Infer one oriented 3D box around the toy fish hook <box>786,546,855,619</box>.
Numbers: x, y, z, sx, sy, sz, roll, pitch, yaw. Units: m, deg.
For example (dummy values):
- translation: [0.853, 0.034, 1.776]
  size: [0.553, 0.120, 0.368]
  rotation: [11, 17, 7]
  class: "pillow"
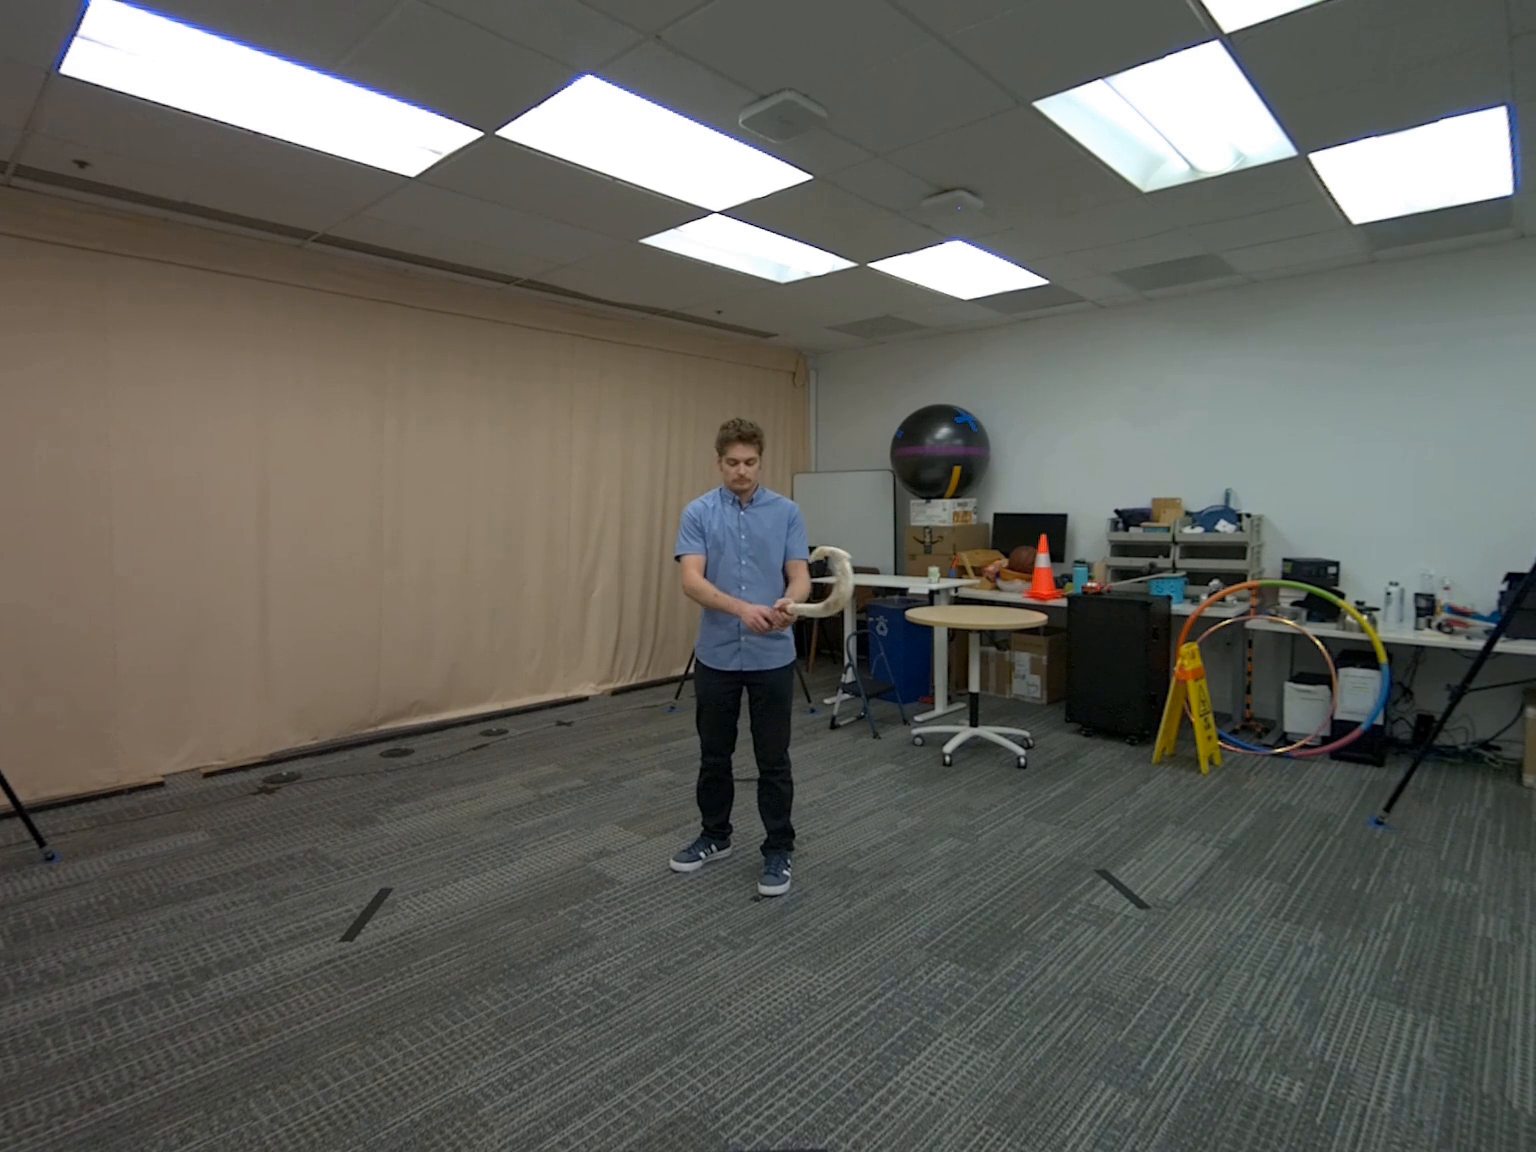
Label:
- translation: [0.096, 0.053, 2.736]
  size: [0.047, 0.227, 0.517]
  rotation: [15, -22, -31]
  class: "toy fish hook"
